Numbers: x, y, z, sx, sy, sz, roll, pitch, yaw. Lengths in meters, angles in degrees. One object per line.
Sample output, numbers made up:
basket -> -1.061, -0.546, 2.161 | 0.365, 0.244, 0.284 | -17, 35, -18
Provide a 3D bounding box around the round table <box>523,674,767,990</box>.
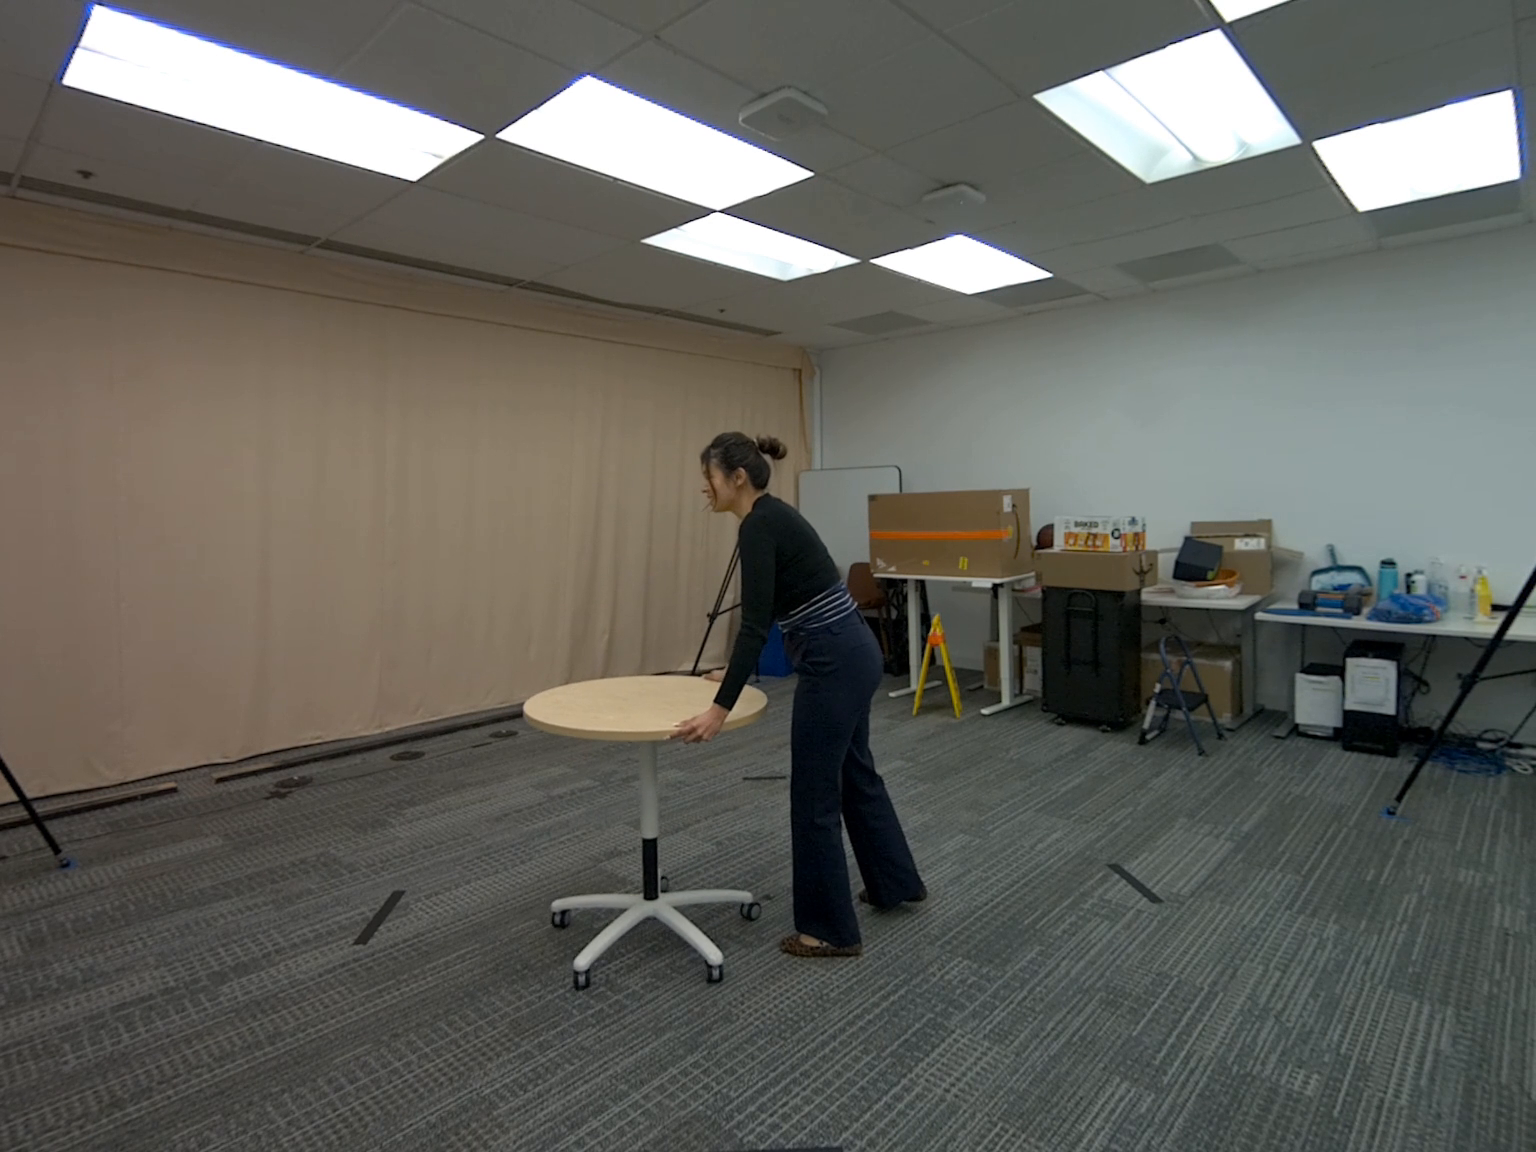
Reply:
round table -> -0.368, 0.787, 2.693 | 0.763, 0.792, 0.767 | -1, 4, -2
